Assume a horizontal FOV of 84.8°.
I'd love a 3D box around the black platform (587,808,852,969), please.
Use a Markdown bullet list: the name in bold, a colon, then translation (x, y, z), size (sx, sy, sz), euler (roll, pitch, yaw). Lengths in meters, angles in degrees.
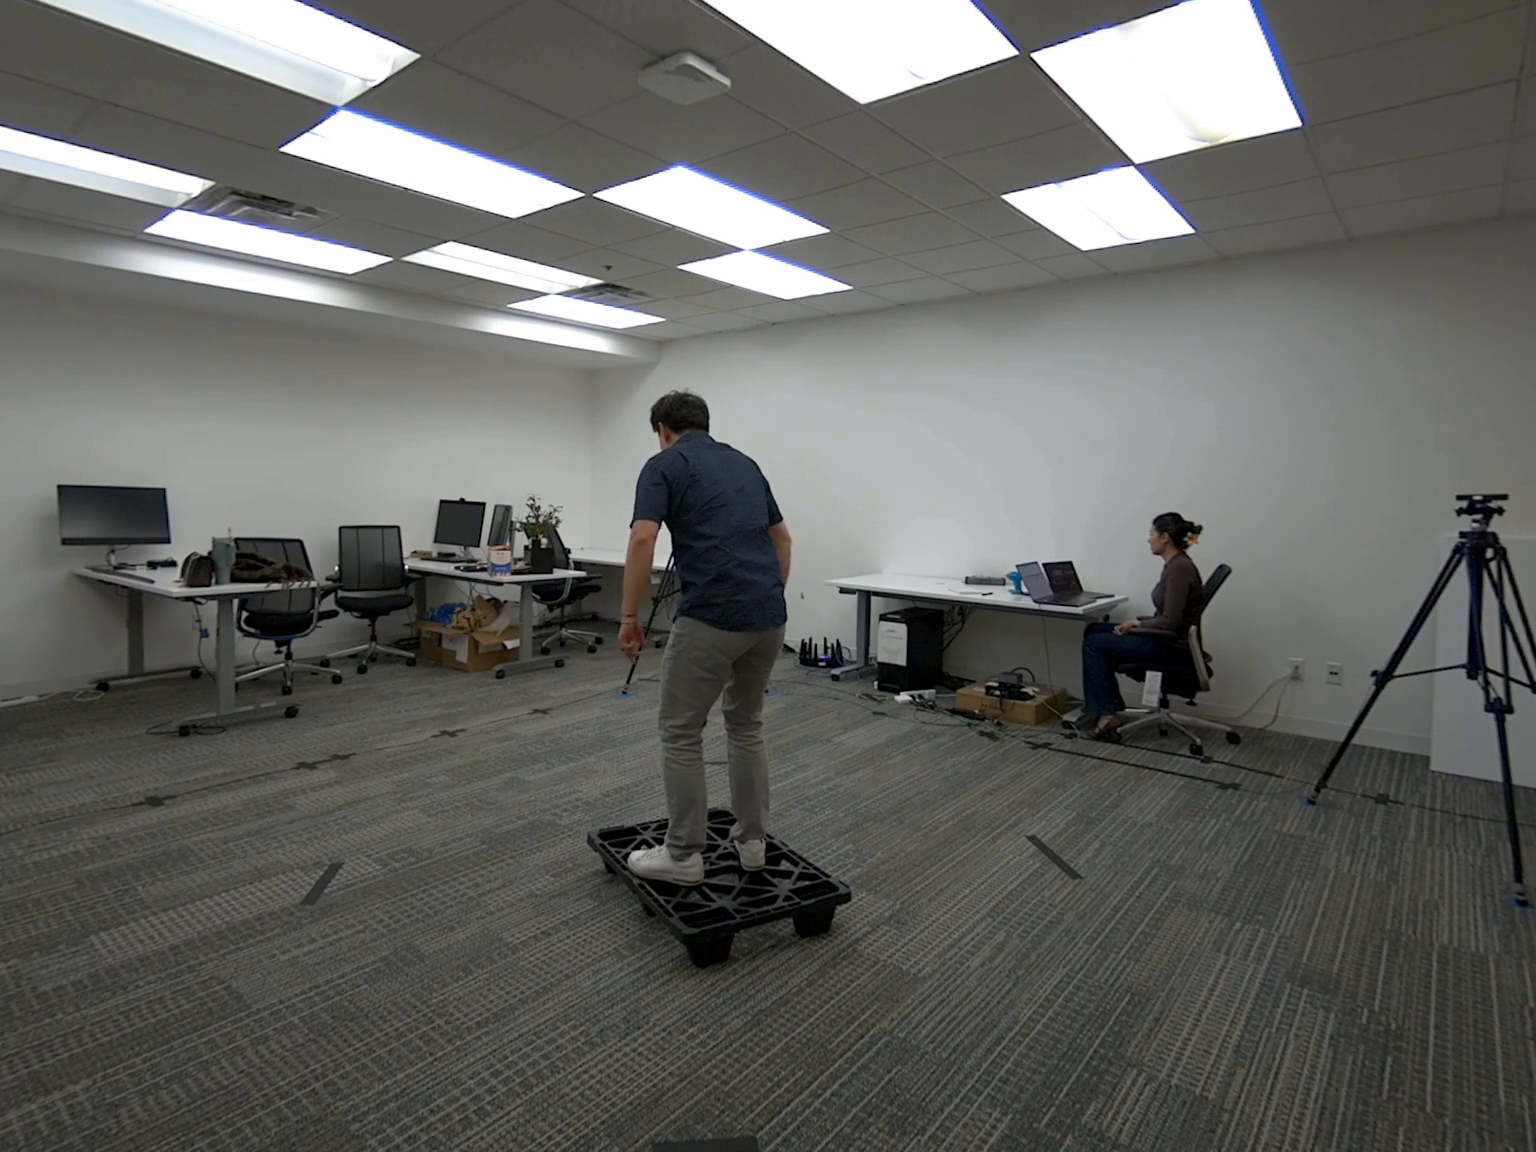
- **black platform**: translation (-0.206, 1.021, 2.874), size (0.589, 0.143, 0.830), euler (-3, 7, -30)
